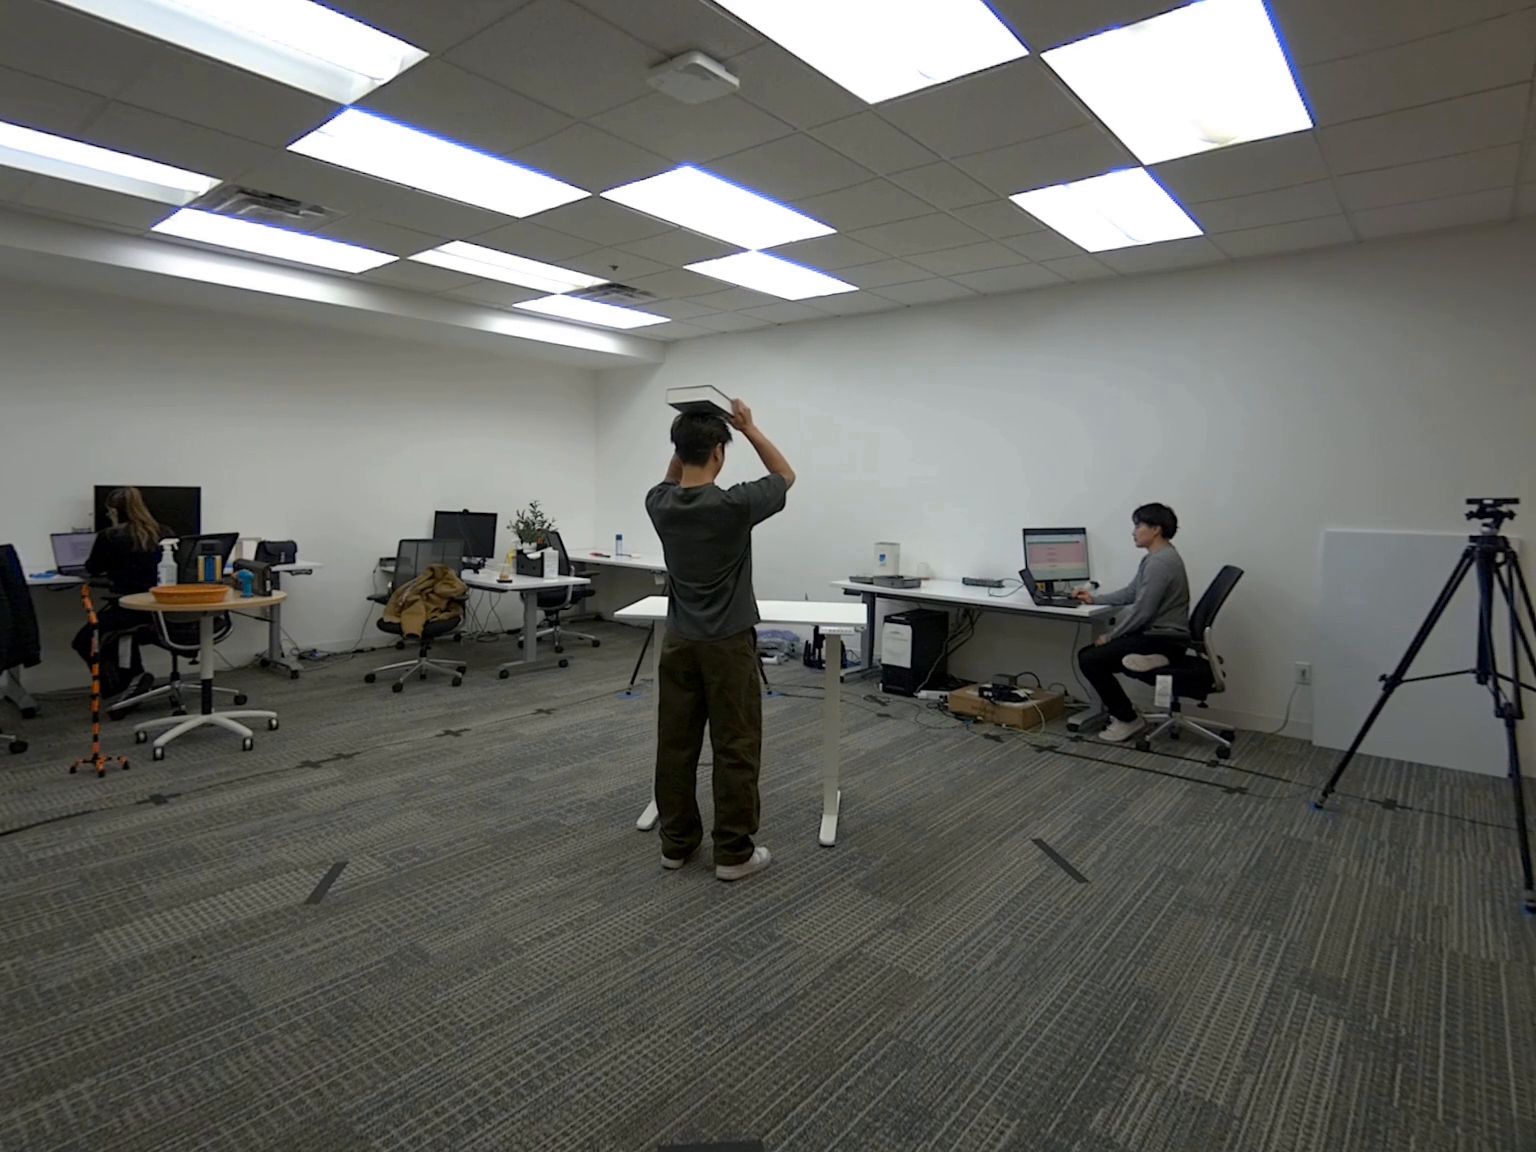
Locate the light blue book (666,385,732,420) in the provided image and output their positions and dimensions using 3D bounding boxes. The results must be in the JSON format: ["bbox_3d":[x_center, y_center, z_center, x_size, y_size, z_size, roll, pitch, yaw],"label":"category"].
[{"bbox_3d":[-0.246,-0.637,3.171,0.197,0.059,0.252,2,-8,28],"label":"light blue book"}]
